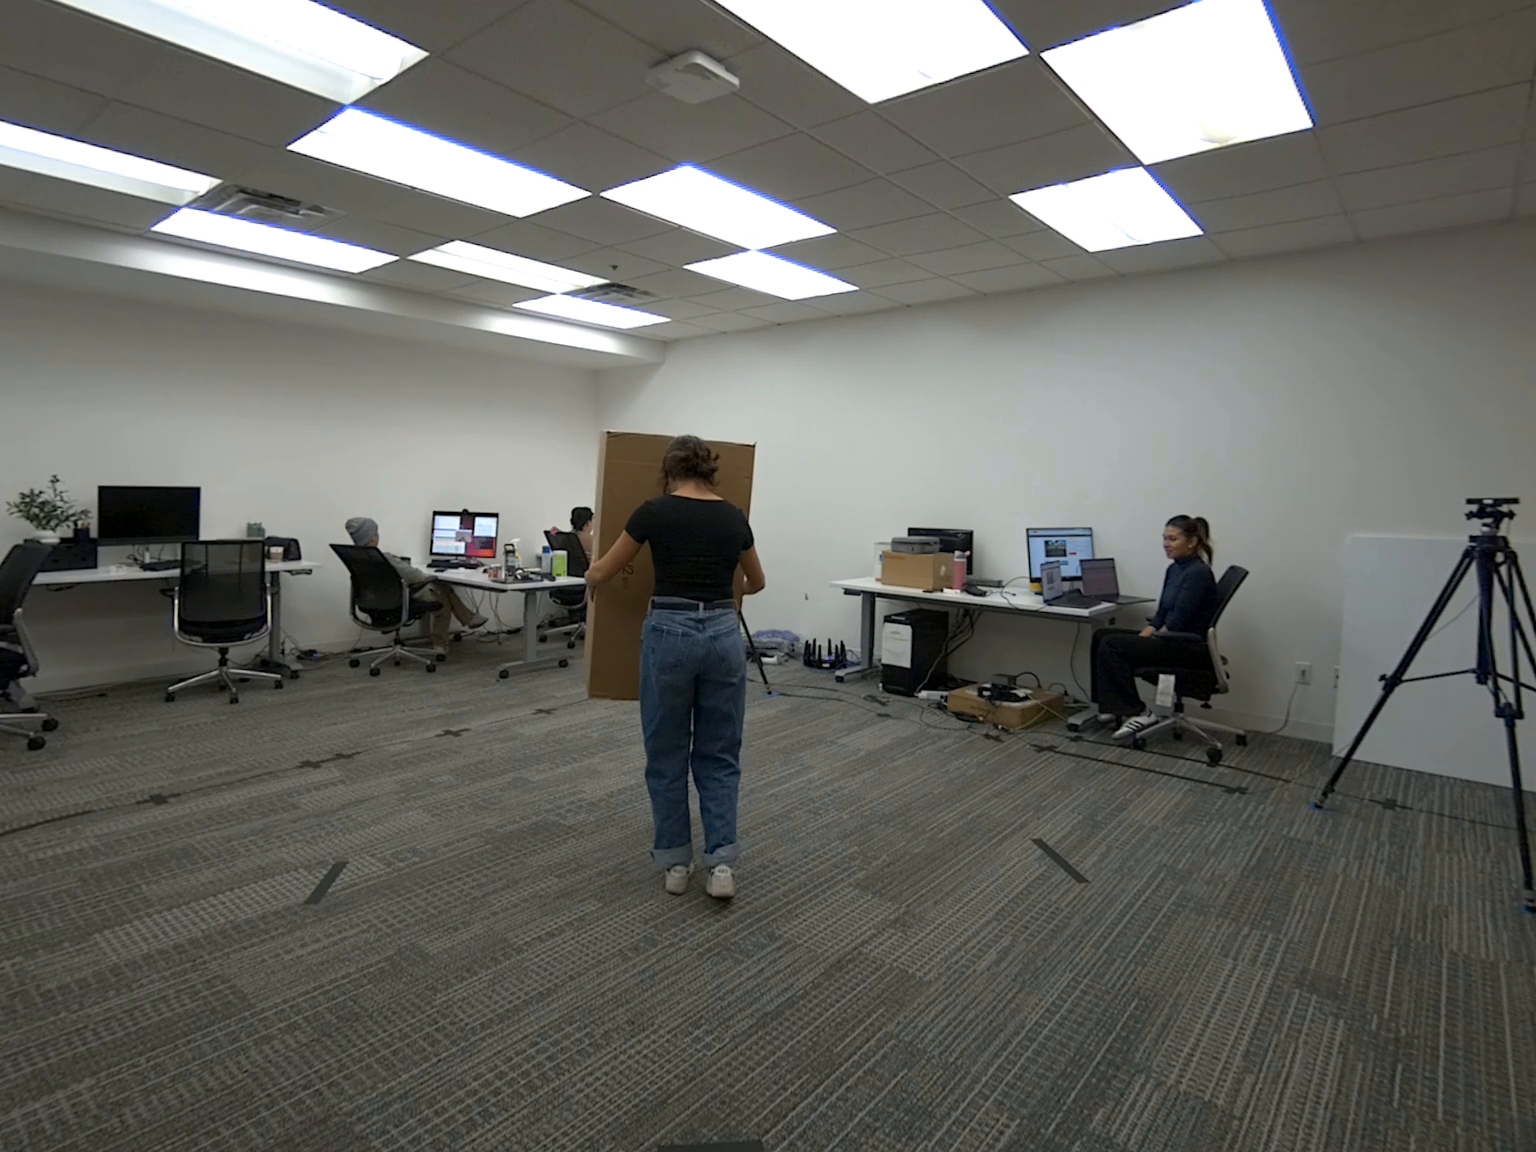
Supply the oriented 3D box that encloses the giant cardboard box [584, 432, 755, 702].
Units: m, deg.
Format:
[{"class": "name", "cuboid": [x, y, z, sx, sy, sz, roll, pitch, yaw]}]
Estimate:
[{"class": "giant cardboard box", "cuboid": [-0.426, -0.052, 3.450, 0.569, 1.020, 0.435, 4, 7, -13]}]
